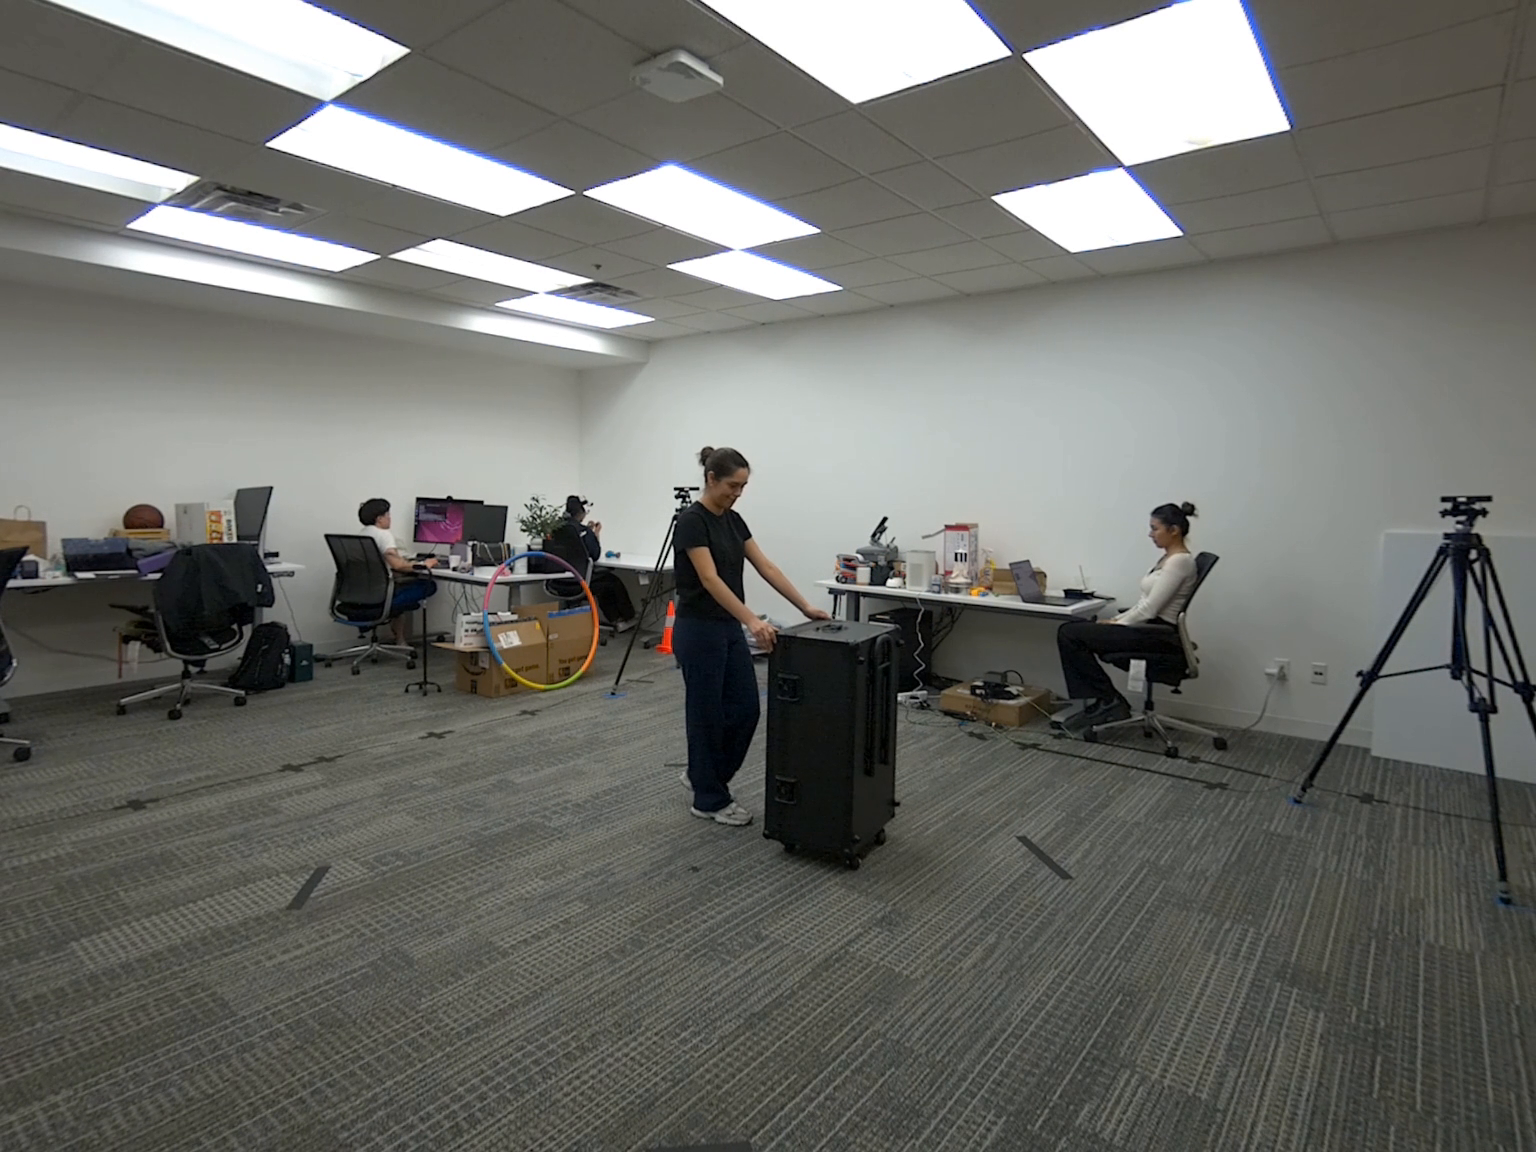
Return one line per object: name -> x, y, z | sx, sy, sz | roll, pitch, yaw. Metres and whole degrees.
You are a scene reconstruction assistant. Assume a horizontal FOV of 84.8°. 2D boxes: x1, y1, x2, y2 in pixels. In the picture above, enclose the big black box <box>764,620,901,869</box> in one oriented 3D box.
big black box -> 0.288, 0.625, 3.325 | 0.408, 0.859, 0.508 | 3, 4, 29
